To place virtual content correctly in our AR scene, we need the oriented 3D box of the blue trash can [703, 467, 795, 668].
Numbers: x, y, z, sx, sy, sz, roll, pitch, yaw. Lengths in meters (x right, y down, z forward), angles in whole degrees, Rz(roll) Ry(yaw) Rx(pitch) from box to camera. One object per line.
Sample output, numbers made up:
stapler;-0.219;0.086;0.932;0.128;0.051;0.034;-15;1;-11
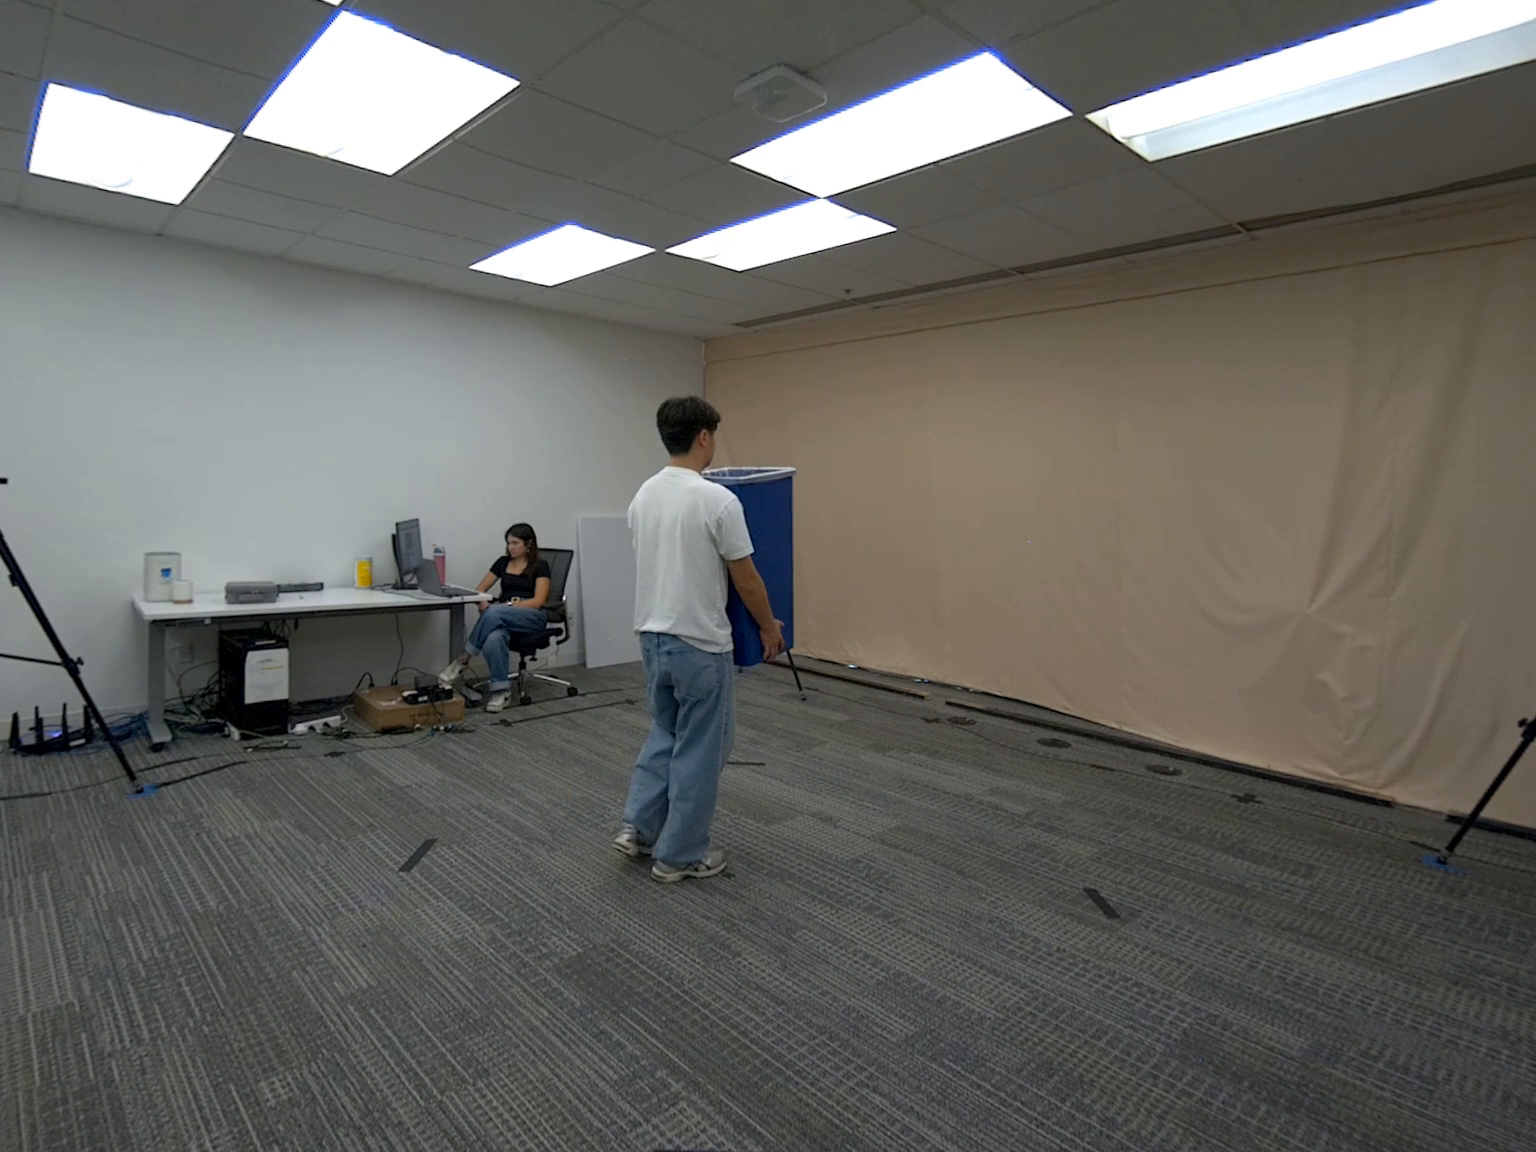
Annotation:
blue trash can;-0.116;-0.051;3.283;0.383;0.708;0.371;4;12;38
